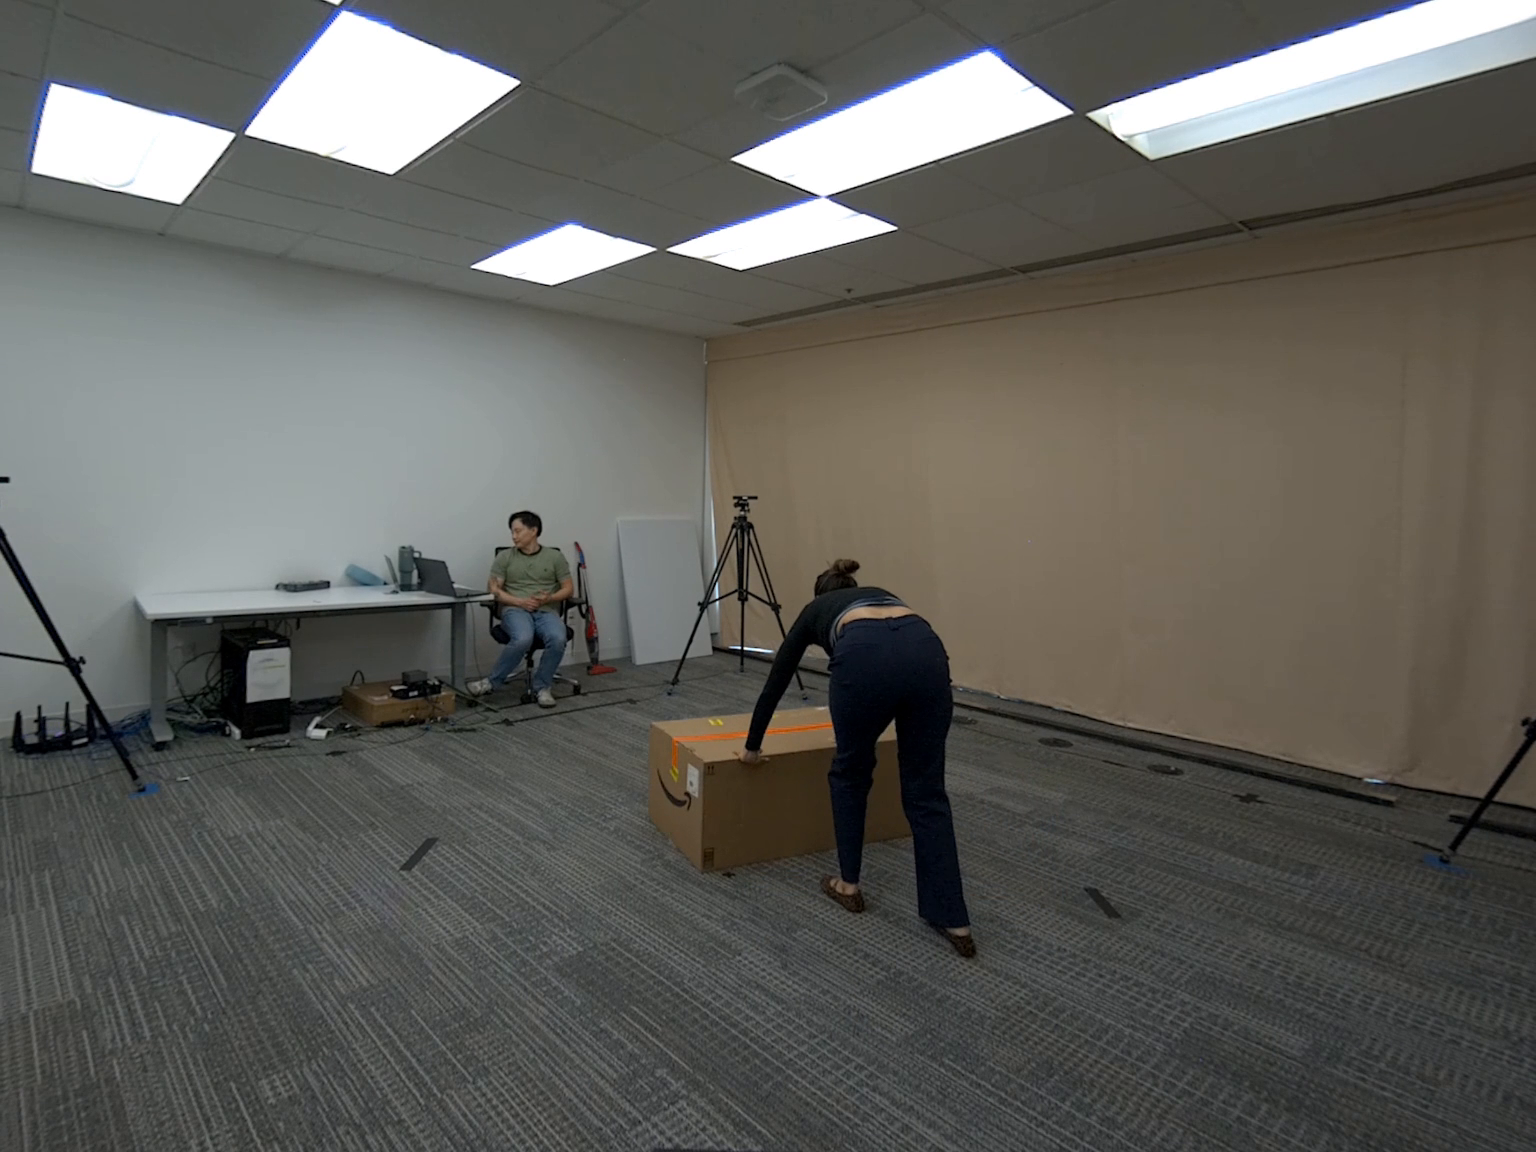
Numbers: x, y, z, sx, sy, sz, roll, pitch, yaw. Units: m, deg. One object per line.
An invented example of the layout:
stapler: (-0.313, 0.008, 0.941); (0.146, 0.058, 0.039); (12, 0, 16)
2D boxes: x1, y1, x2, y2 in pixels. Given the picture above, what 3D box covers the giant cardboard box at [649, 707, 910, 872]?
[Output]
giant cardboard box: (0.067, 0.853, 3.576); (1.007, 0.425, 0.590); (-1, 6, -26)
